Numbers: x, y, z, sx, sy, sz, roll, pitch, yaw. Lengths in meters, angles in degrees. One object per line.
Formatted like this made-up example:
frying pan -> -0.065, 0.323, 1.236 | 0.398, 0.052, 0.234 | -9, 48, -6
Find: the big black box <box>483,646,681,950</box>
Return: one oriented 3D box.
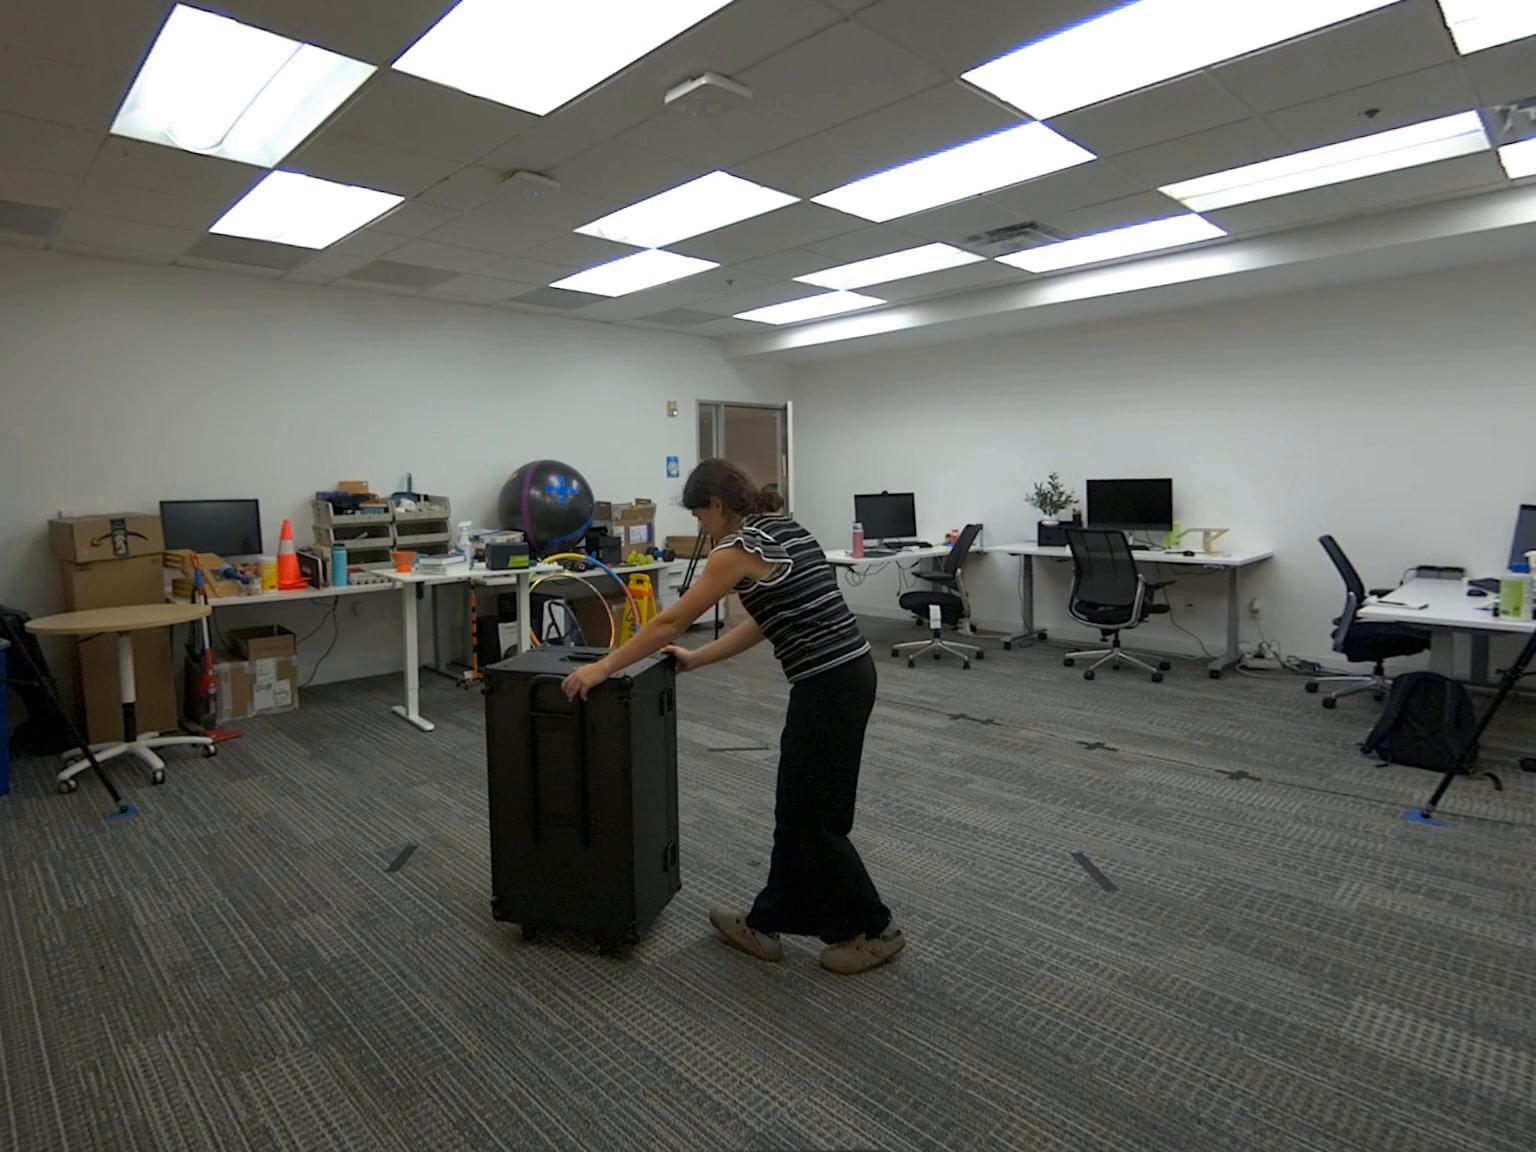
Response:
big black box -> -0.563, 0.686, 2.659 | 0.530, 0.857, 0.391 | 1, 5, 17
